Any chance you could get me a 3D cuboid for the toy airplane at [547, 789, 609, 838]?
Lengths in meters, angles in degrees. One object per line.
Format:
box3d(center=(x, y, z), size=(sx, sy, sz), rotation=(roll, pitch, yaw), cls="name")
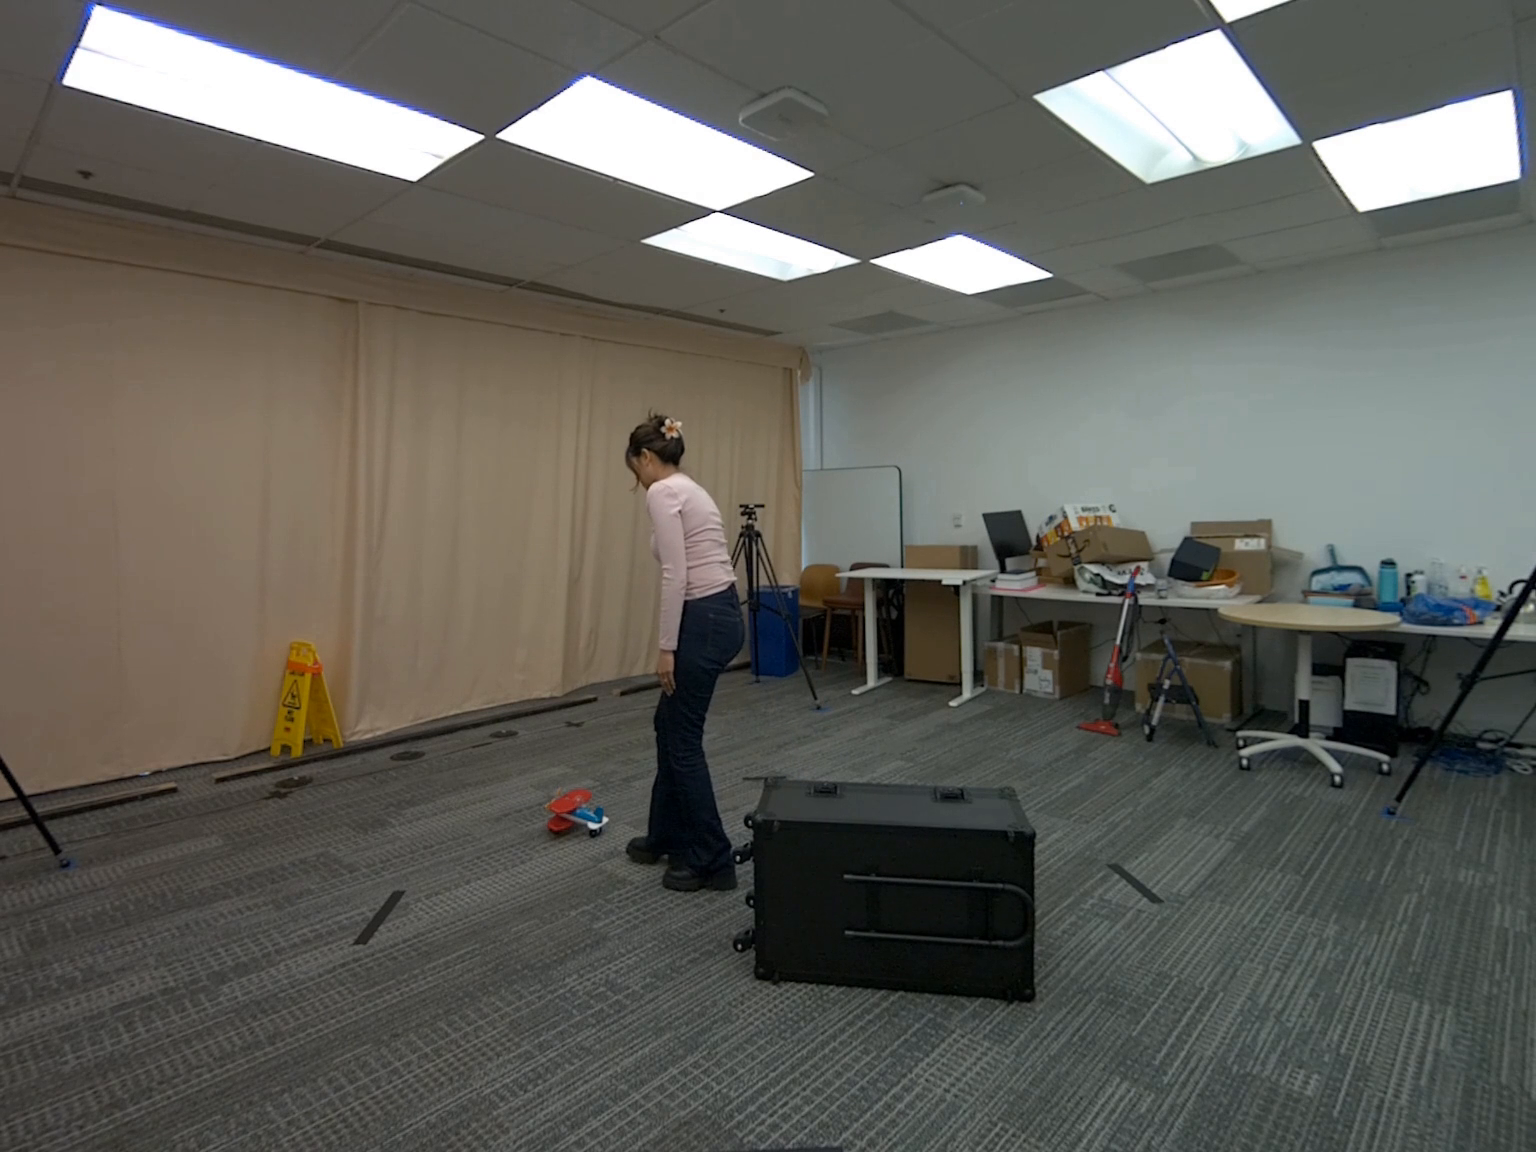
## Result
box3d(center=(-0.818, 1.034, 3.643), size=(0.258, 0.156, 0.253), rotation=(-3, 4, -6), cls="toy airplane")
